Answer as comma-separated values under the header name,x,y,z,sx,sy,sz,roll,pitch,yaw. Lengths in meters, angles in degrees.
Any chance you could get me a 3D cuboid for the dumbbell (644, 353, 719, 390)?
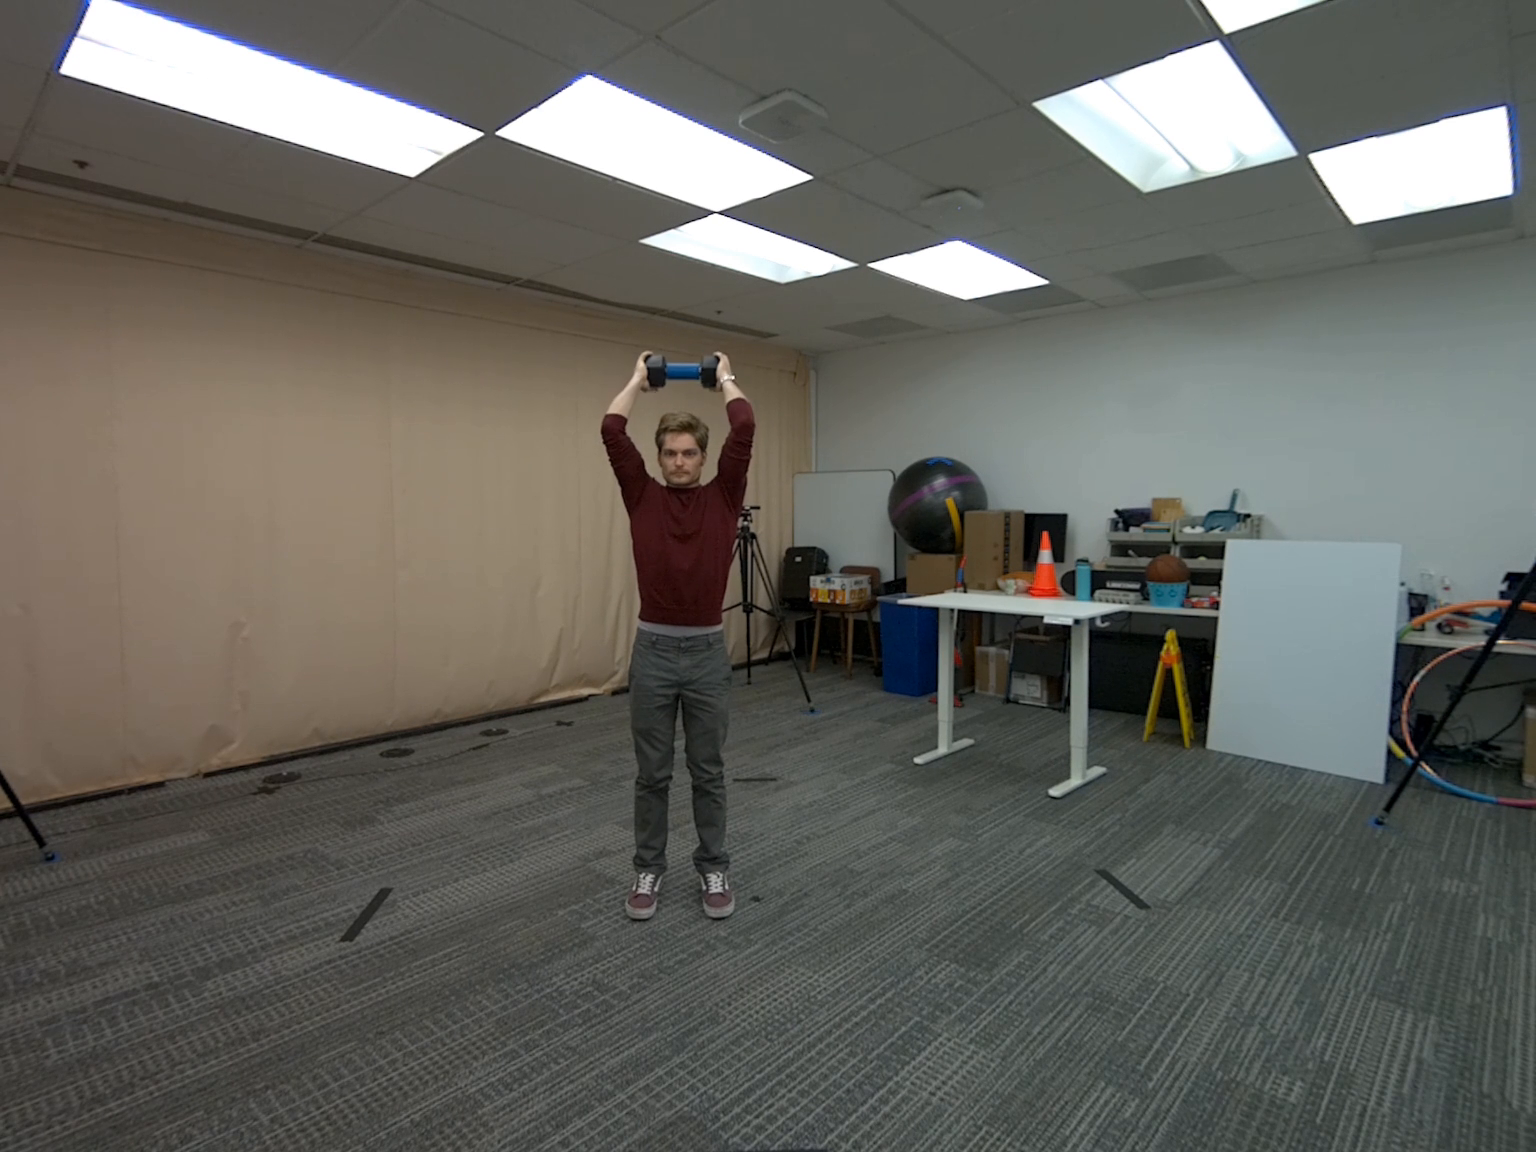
name,x,y,z,sx,sy,sz,roll,pitch,yaw
dumbbell,-0.311,-0.749,3.083,0.294,0.121,0.110,4,29,2
